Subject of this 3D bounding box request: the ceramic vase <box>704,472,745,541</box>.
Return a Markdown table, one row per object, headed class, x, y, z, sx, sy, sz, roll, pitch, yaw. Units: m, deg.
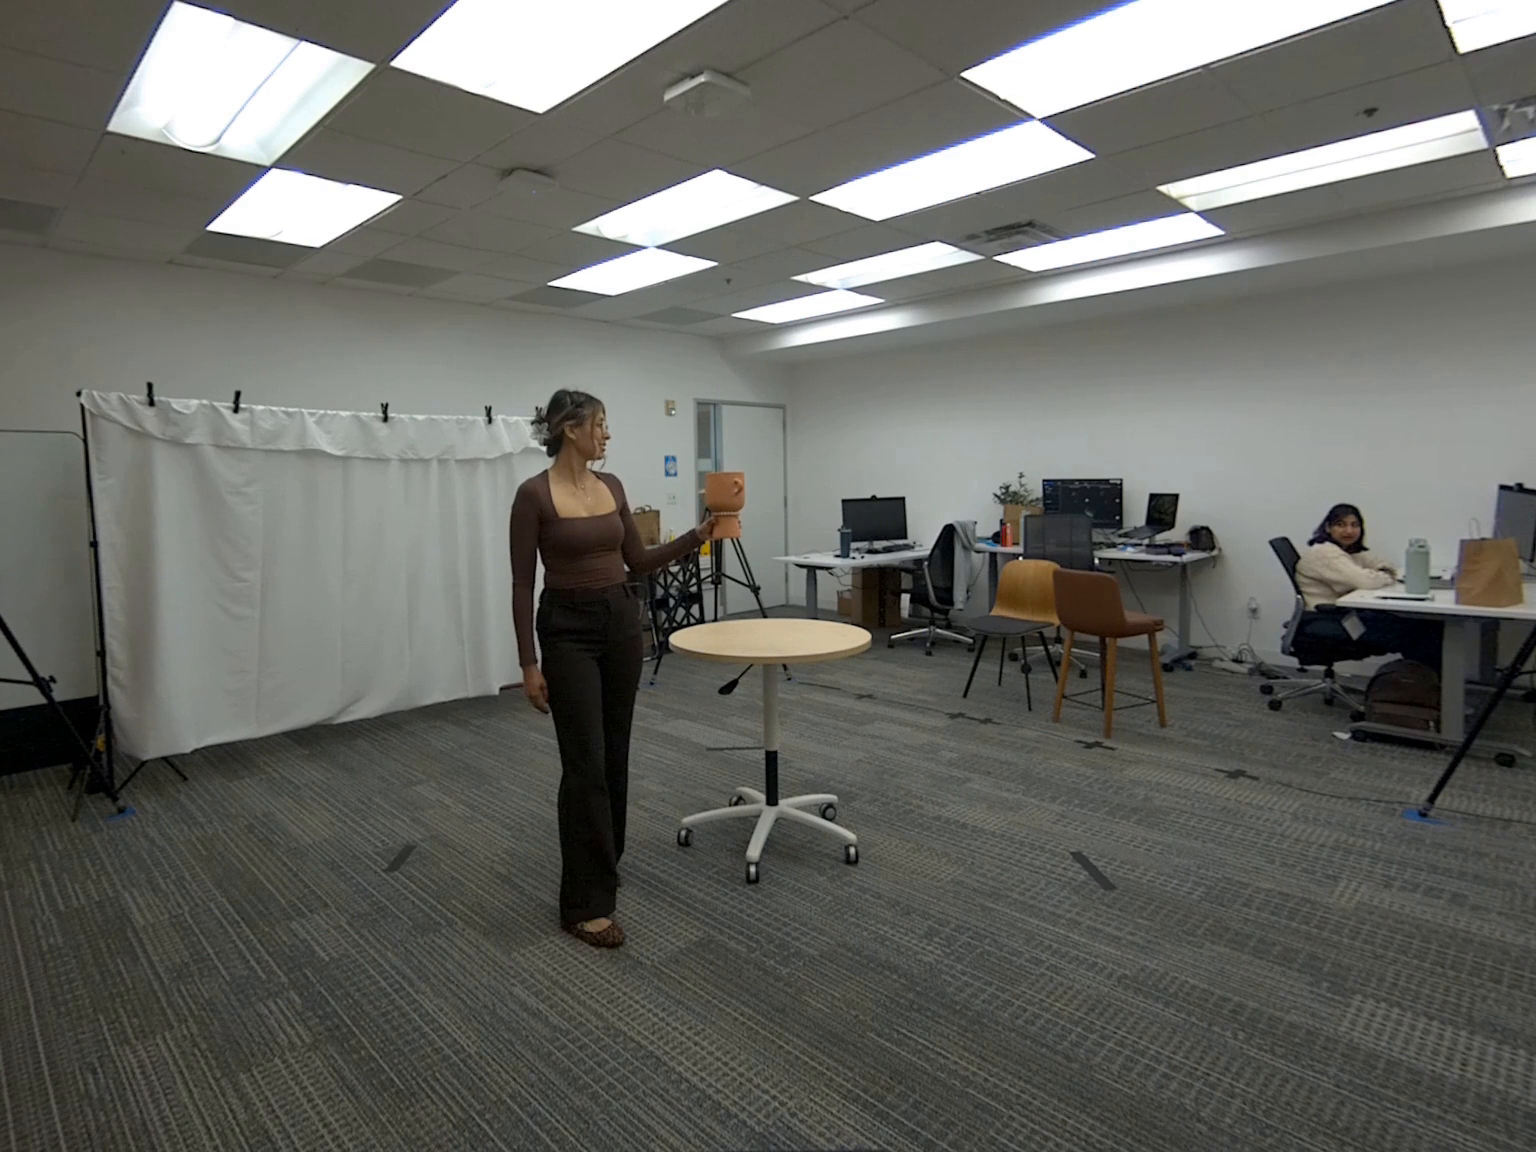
| class | x | y | z | sx | sy | sz | roll | pitch | yaw |
| --- | --- | --- | --- | --- | --- | --- | --- | --- | --- |
| ceramic vase | -0.144 | -0.241 | 2.884 | 0.136 | 0.219 | 0.158 | -1 | 3 | 7 |
